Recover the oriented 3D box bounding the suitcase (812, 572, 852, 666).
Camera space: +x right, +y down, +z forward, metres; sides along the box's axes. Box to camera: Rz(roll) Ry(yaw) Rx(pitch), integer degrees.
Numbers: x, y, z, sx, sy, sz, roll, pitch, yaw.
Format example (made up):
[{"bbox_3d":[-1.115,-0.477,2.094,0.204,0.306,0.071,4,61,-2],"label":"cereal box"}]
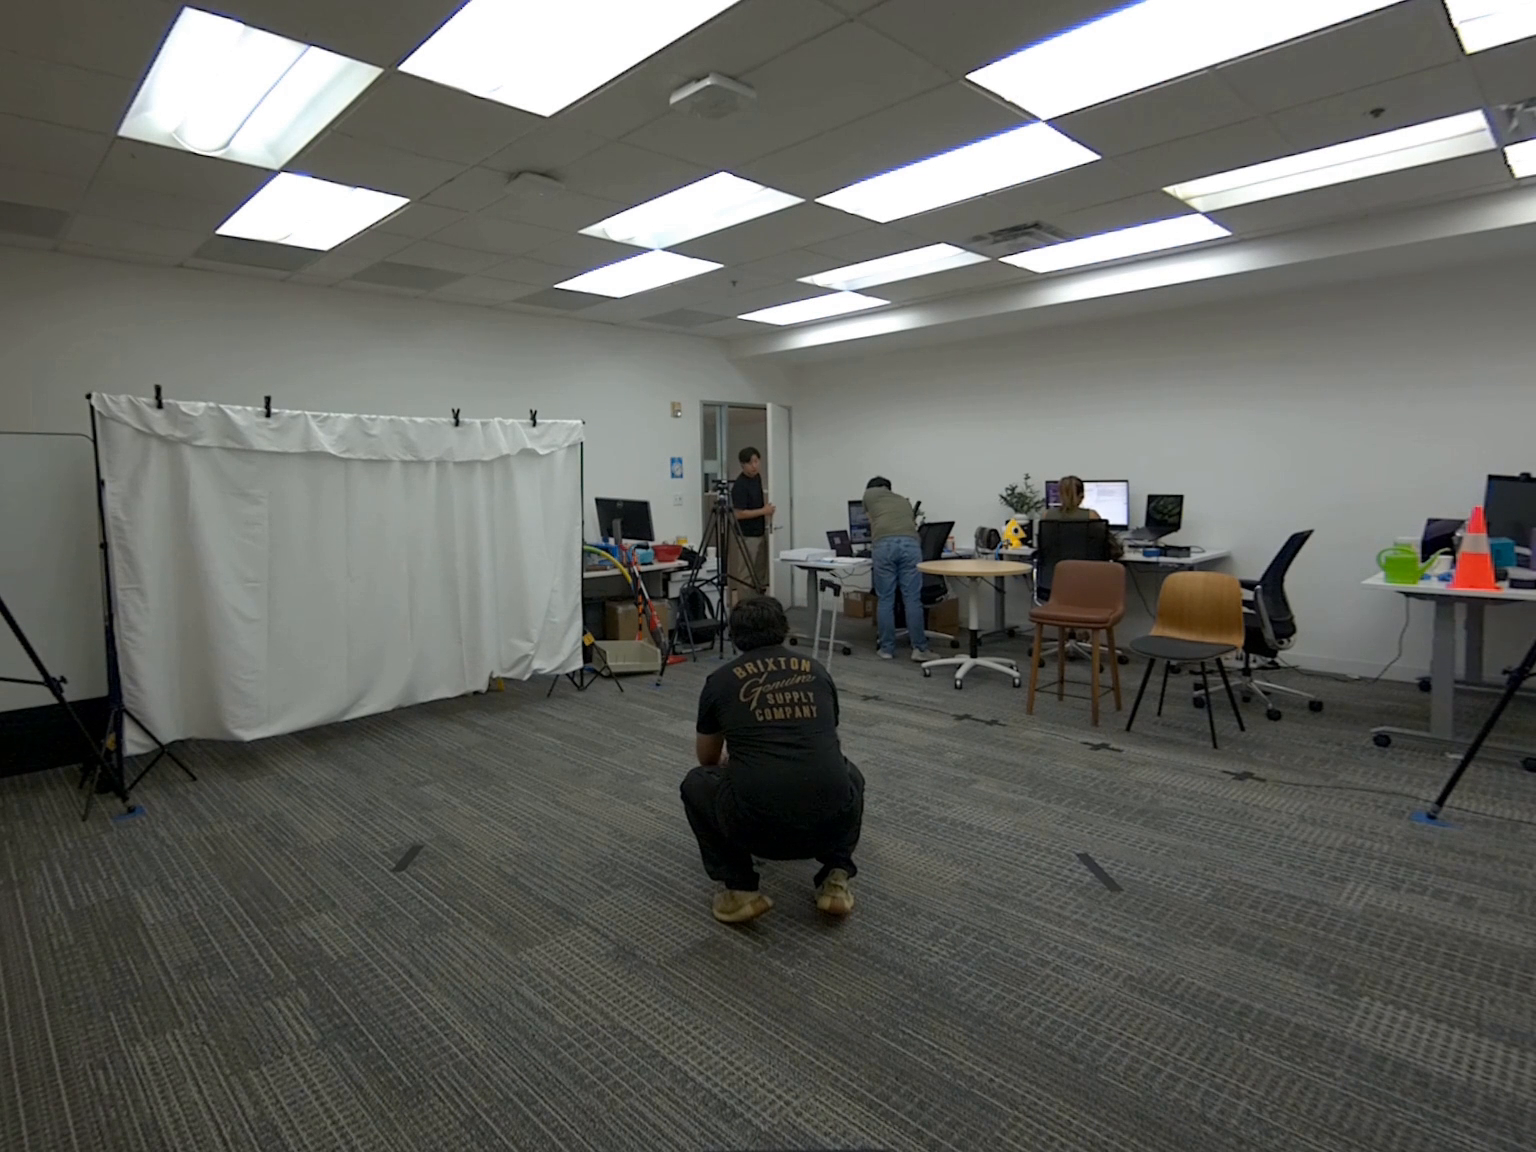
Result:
[{"bbox_3d":[0.098,0.520,3.336,0.264,0.986,0.371,-1,-10,32],"label":"suitcase"}]
